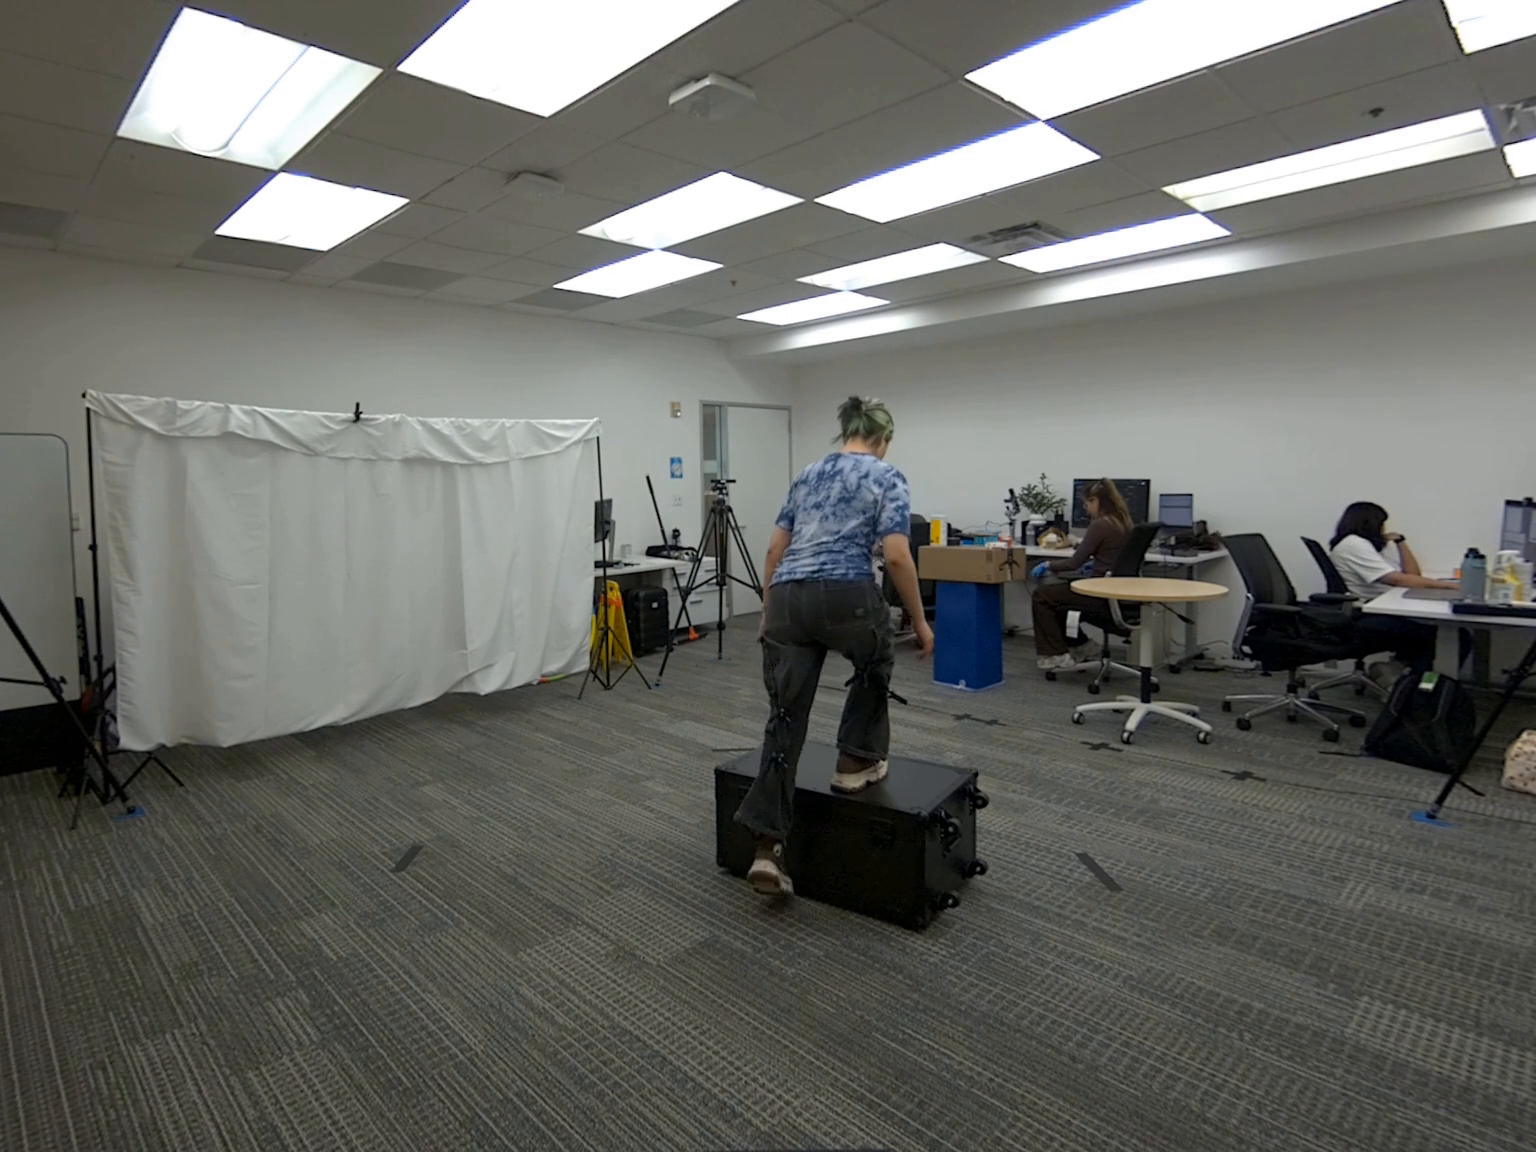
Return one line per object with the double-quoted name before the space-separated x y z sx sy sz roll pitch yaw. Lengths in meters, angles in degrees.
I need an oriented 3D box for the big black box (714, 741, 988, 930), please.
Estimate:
"big black box" 0.299 0.865 2.984 0.886 0.395 0.509 3 6 33
